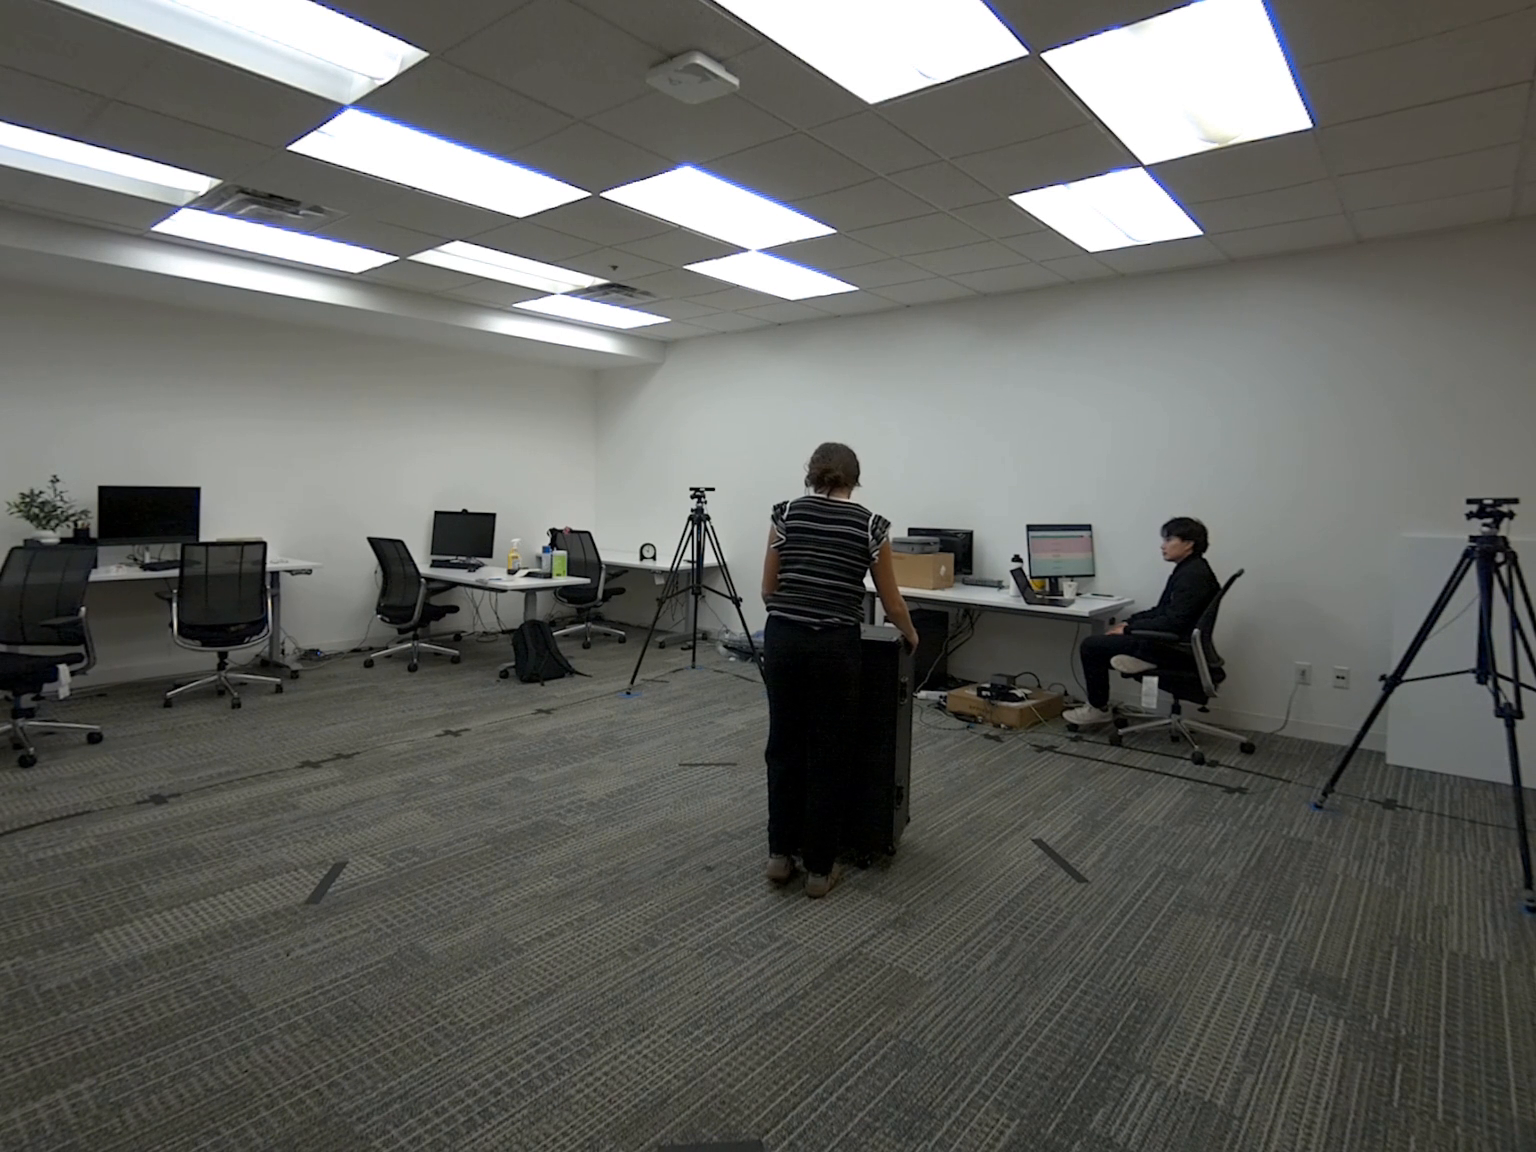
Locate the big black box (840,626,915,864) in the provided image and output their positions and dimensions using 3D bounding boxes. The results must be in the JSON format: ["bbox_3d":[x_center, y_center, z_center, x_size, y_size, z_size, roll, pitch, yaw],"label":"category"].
[{"bbox_3d":[0.289,0.636,3.347,0.532,0.860,0.388,3,2,19],"label":"big black box"}]
